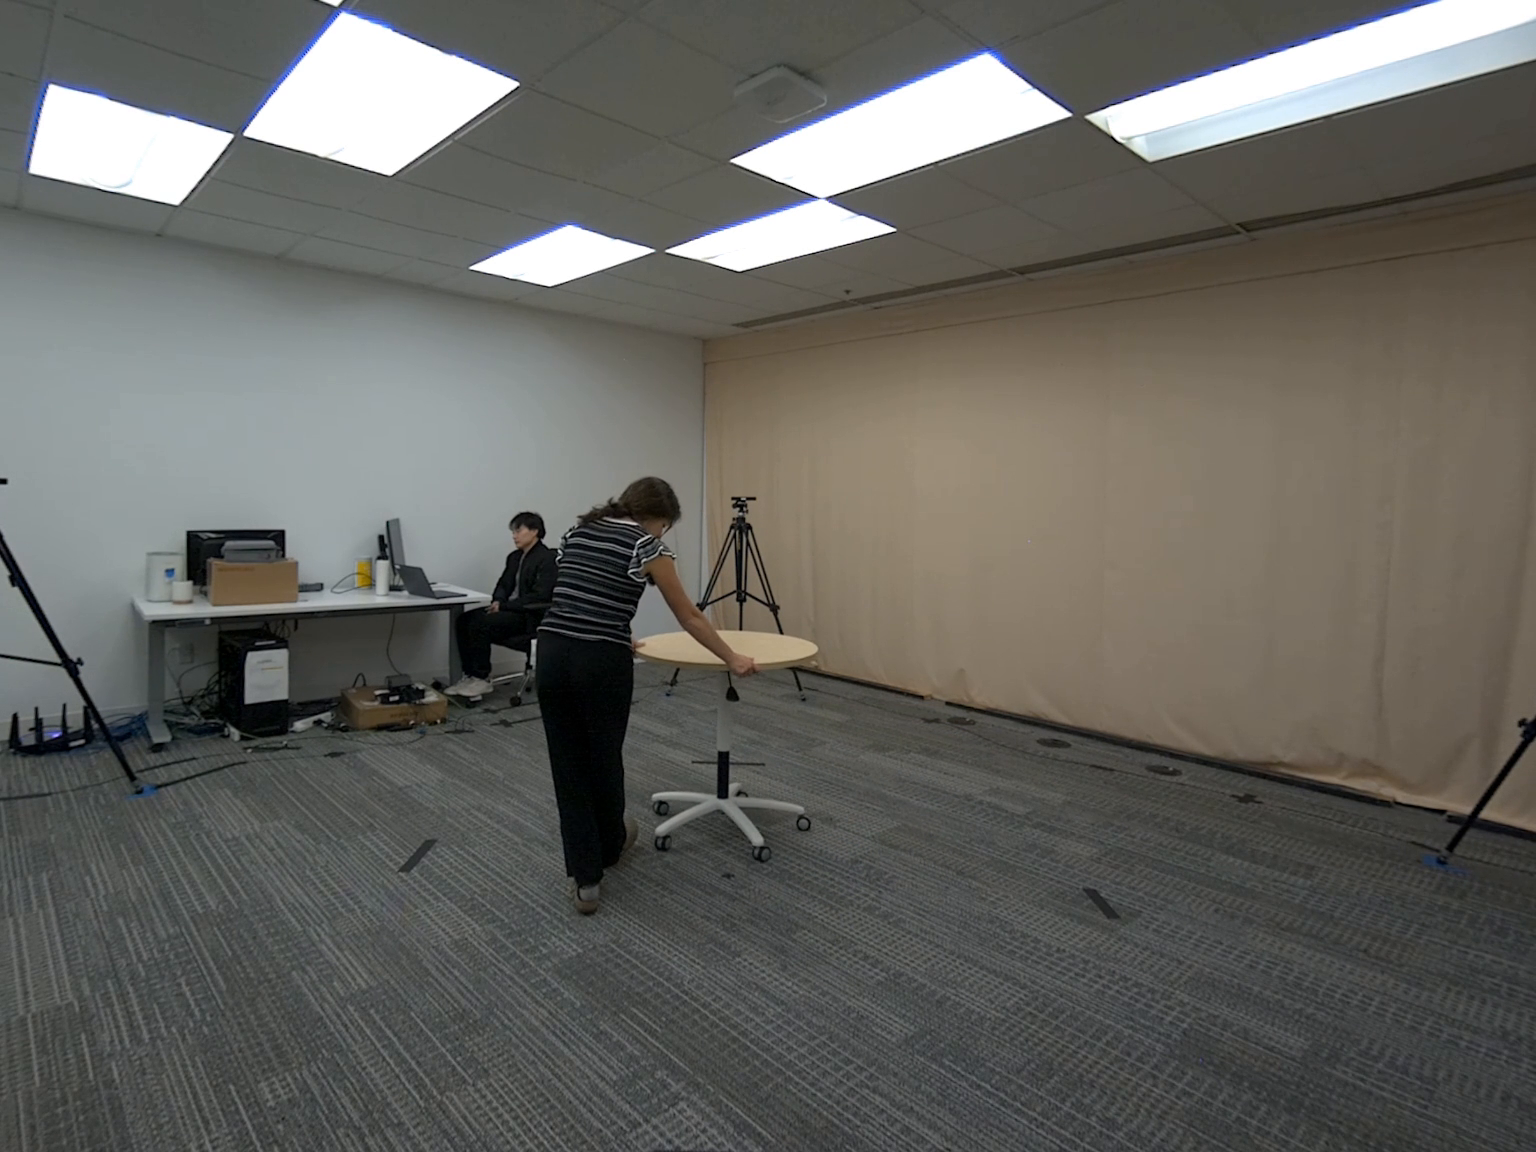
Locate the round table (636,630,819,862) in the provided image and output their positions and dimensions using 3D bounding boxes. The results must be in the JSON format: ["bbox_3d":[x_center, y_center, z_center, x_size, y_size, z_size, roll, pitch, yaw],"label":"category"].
[{"bbox_3d":[-0.184,0.682,3.516,0.763,0.792,0.766,1,4,-1],"label":"round table"}]
